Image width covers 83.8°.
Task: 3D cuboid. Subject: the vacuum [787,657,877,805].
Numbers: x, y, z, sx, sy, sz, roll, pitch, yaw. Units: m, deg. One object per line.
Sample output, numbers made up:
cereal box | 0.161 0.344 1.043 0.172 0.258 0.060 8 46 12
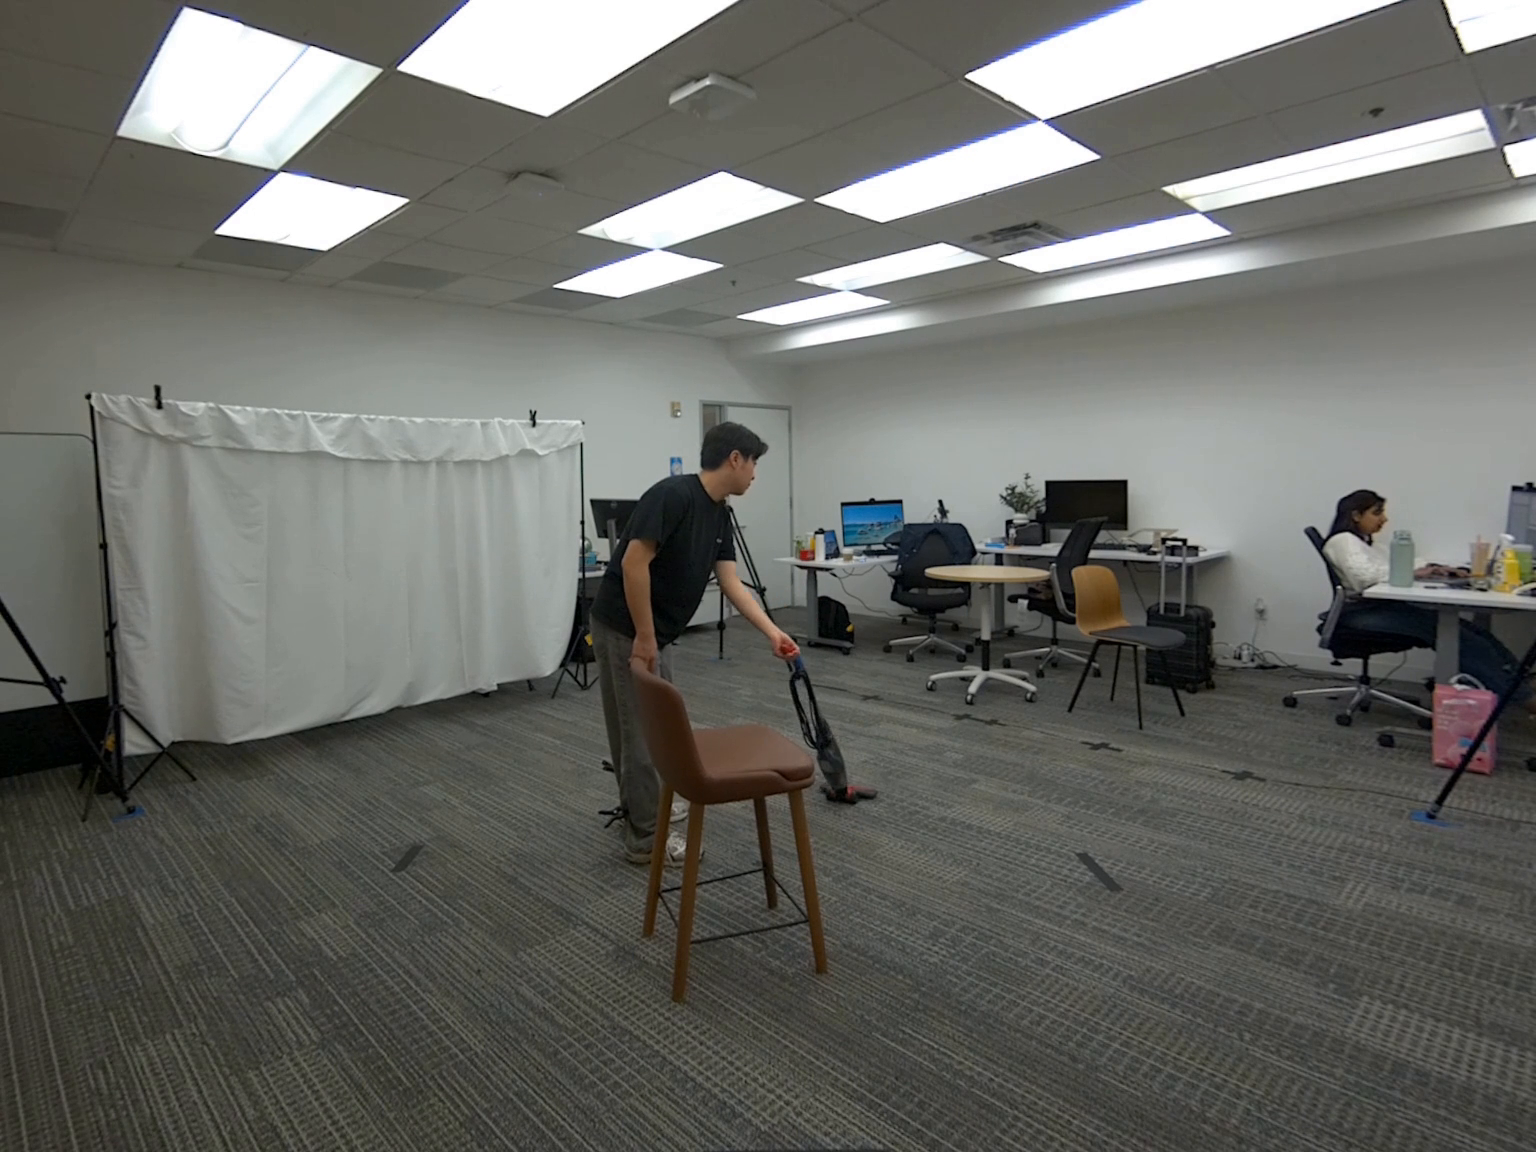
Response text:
vacuum | 0.201 0.601 3.419 0.259 1.012 0.145 4 47 27
